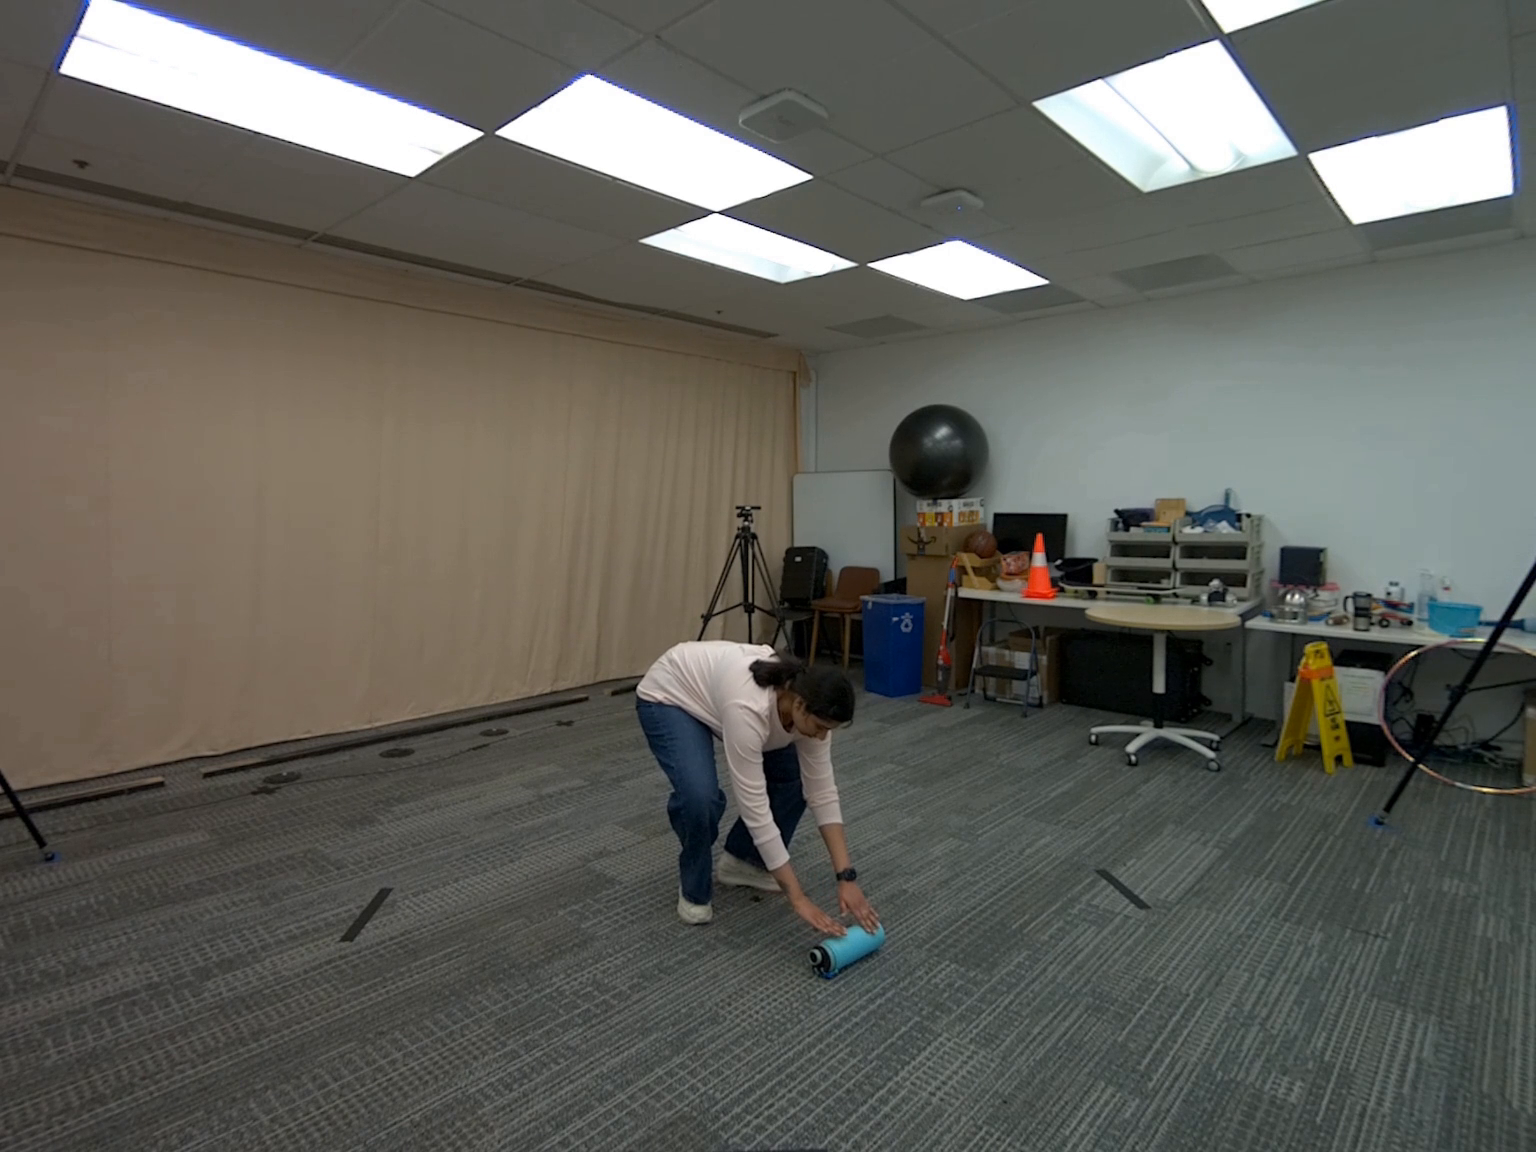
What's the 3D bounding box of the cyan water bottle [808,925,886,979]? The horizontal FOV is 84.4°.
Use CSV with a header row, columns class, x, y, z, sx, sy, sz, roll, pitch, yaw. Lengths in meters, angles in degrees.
class,x,y,z,sx,sy,sz,roll,pitch,yaw
cyan water bottle,0.240,1.125,2.568,0.275,0.092,0.095,-4,5,-43
